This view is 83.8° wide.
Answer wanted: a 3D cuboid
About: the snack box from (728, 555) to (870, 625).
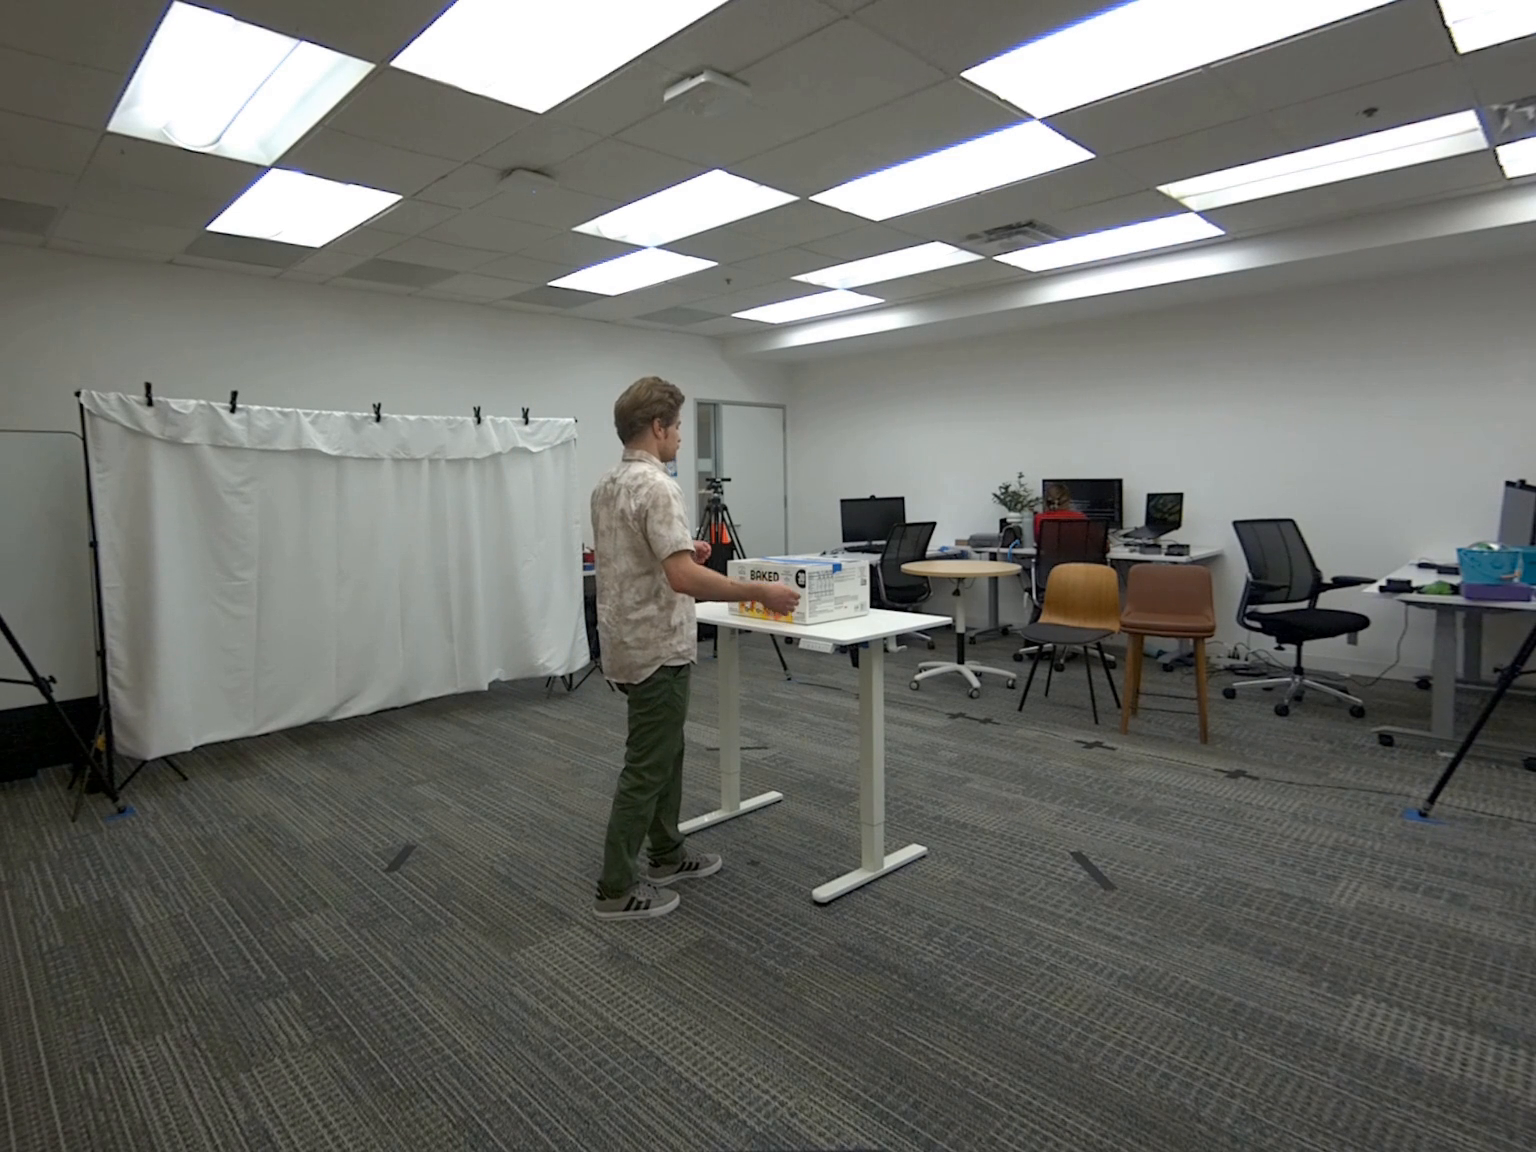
[{"bbox_3d":[0.114,0.044,3.187,0.331,0.205,0.417,-6,7,-43],"label":"snack box"}]
